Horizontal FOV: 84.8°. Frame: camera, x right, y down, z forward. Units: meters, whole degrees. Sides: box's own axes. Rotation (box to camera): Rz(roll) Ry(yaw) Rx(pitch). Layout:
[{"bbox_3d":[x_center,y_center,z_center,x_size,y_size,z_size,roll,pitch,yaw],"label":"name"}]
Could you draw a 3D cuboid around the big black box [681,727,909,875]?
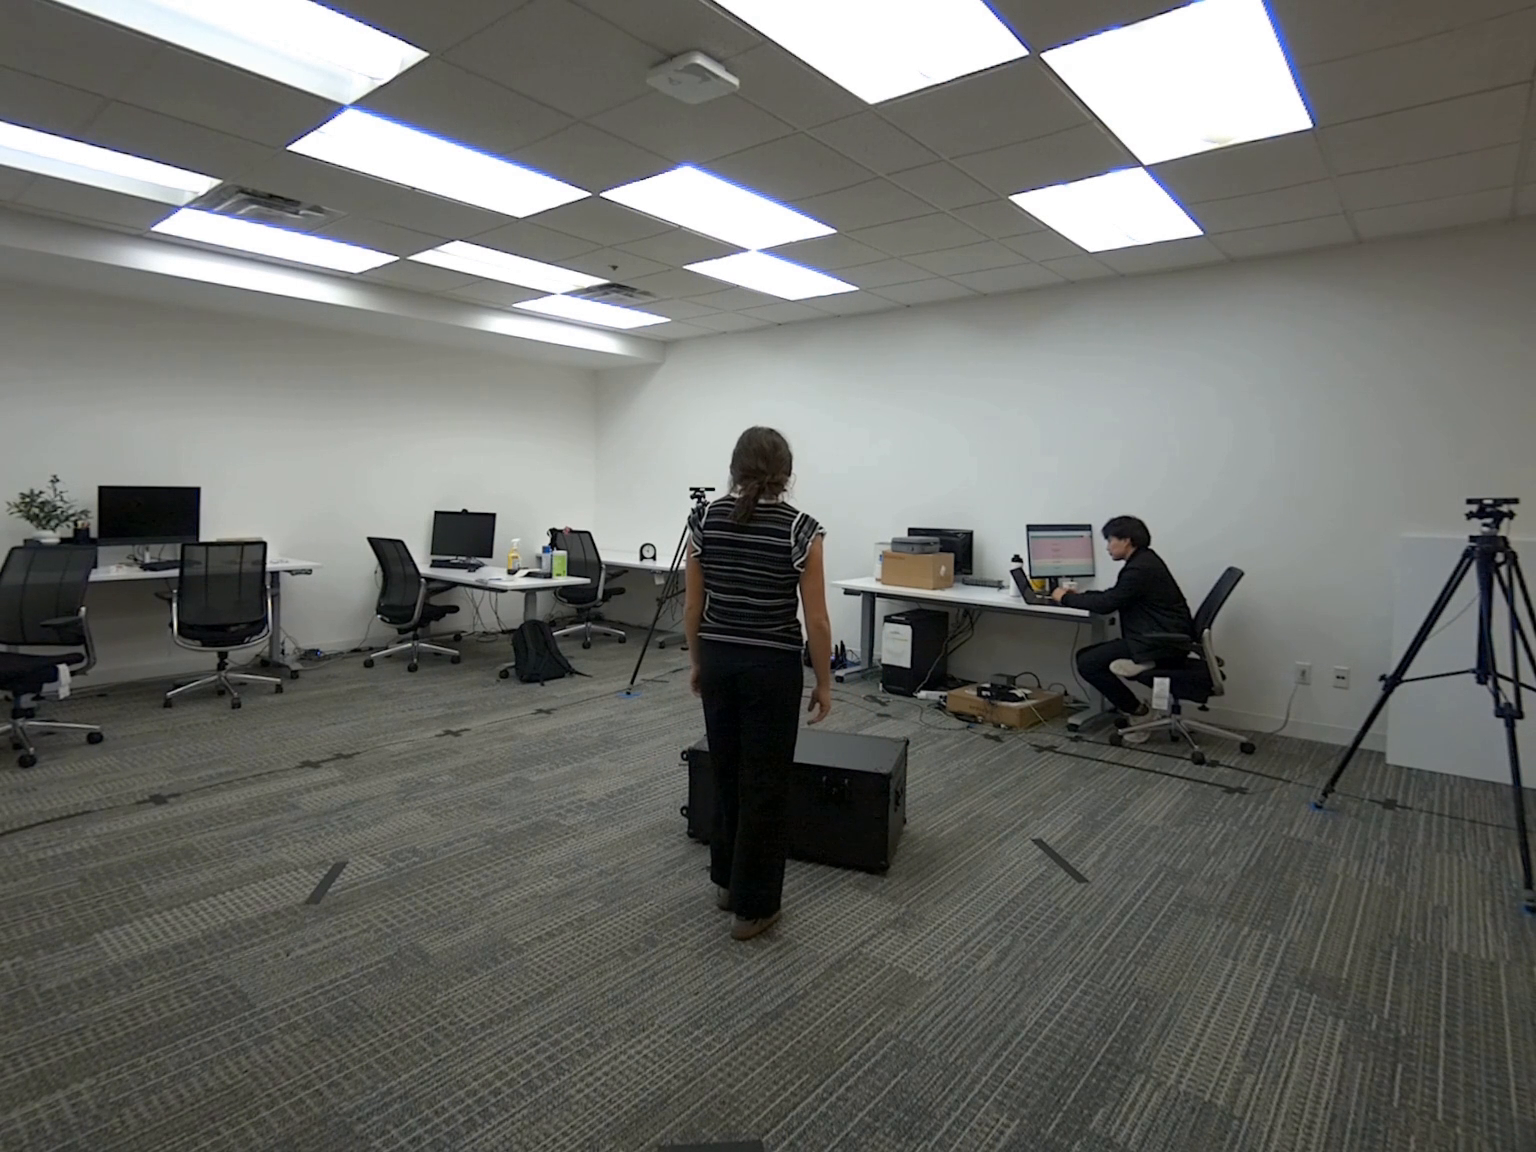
[{"bbox_3d":[0.089,0.850,3.426,0.879,0.394,0.513,3,6,18],"label":"big black box"}]
